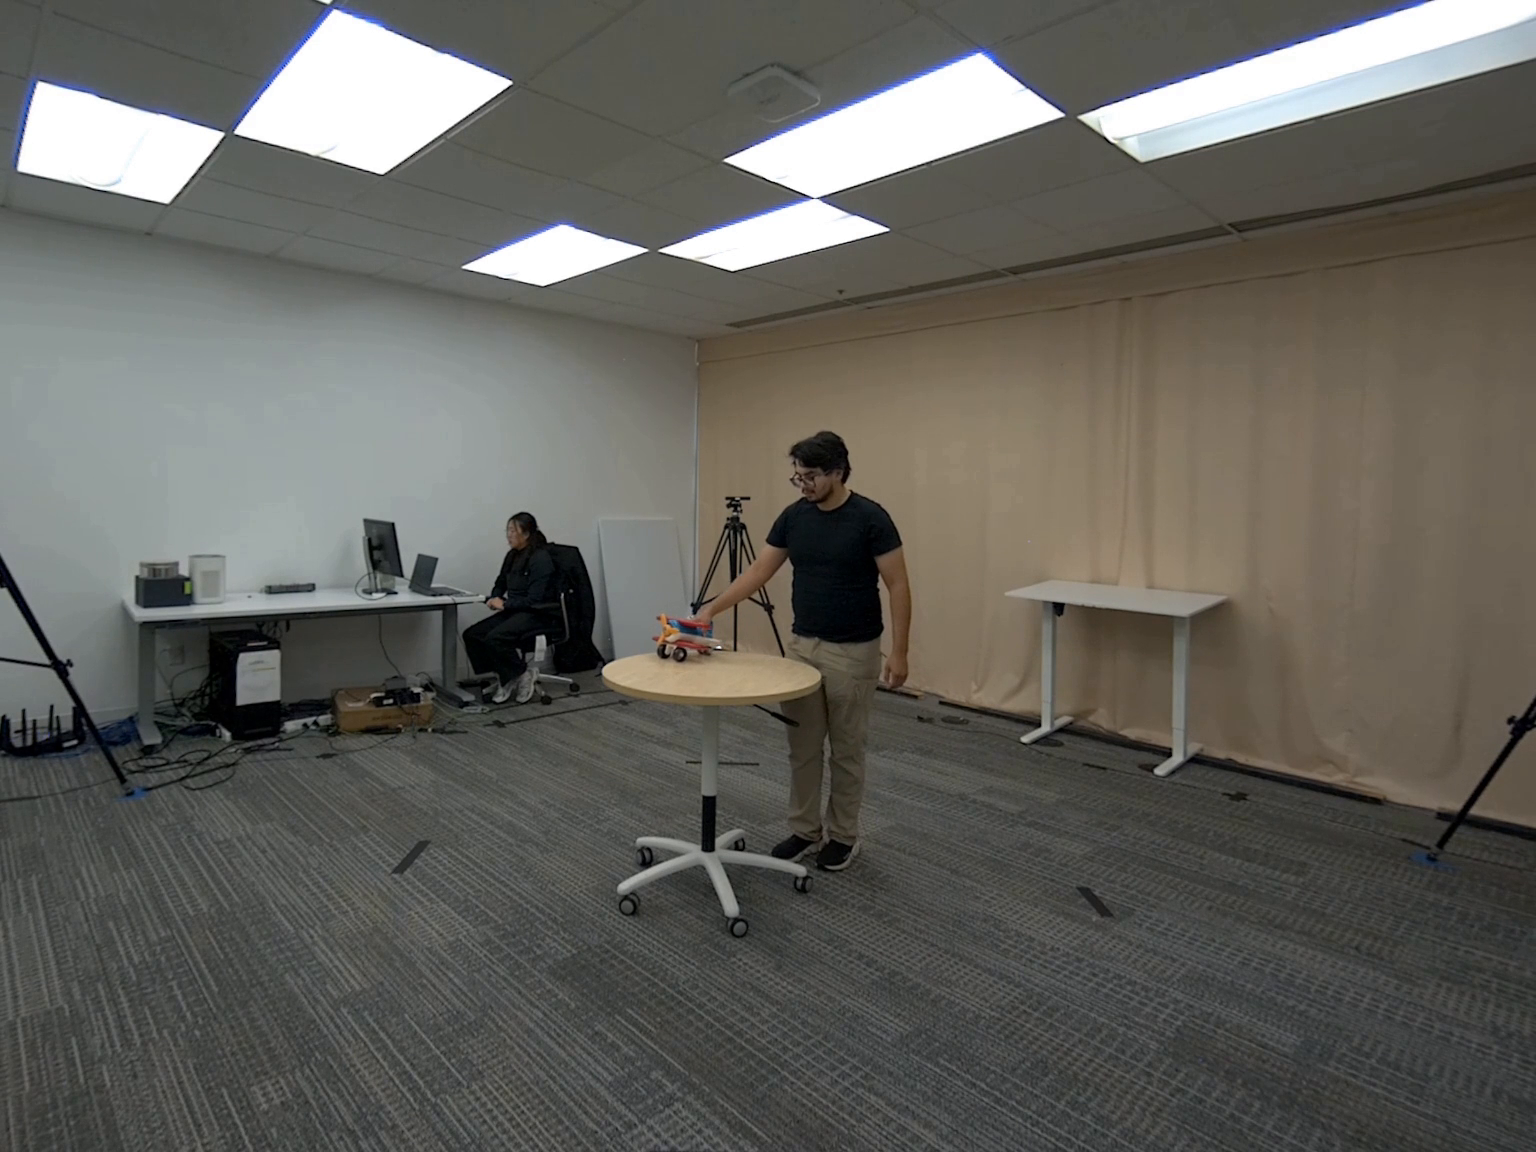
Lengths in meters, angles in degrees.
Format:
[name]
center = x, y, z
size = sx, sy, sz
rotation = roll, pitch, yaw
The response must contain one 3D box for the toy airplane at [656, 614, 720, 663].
[toy airplane]
center = -0.327, 0.231, 3.194
size = 0.254, 0.156, 0.257
rotation = 2, 6, 12
